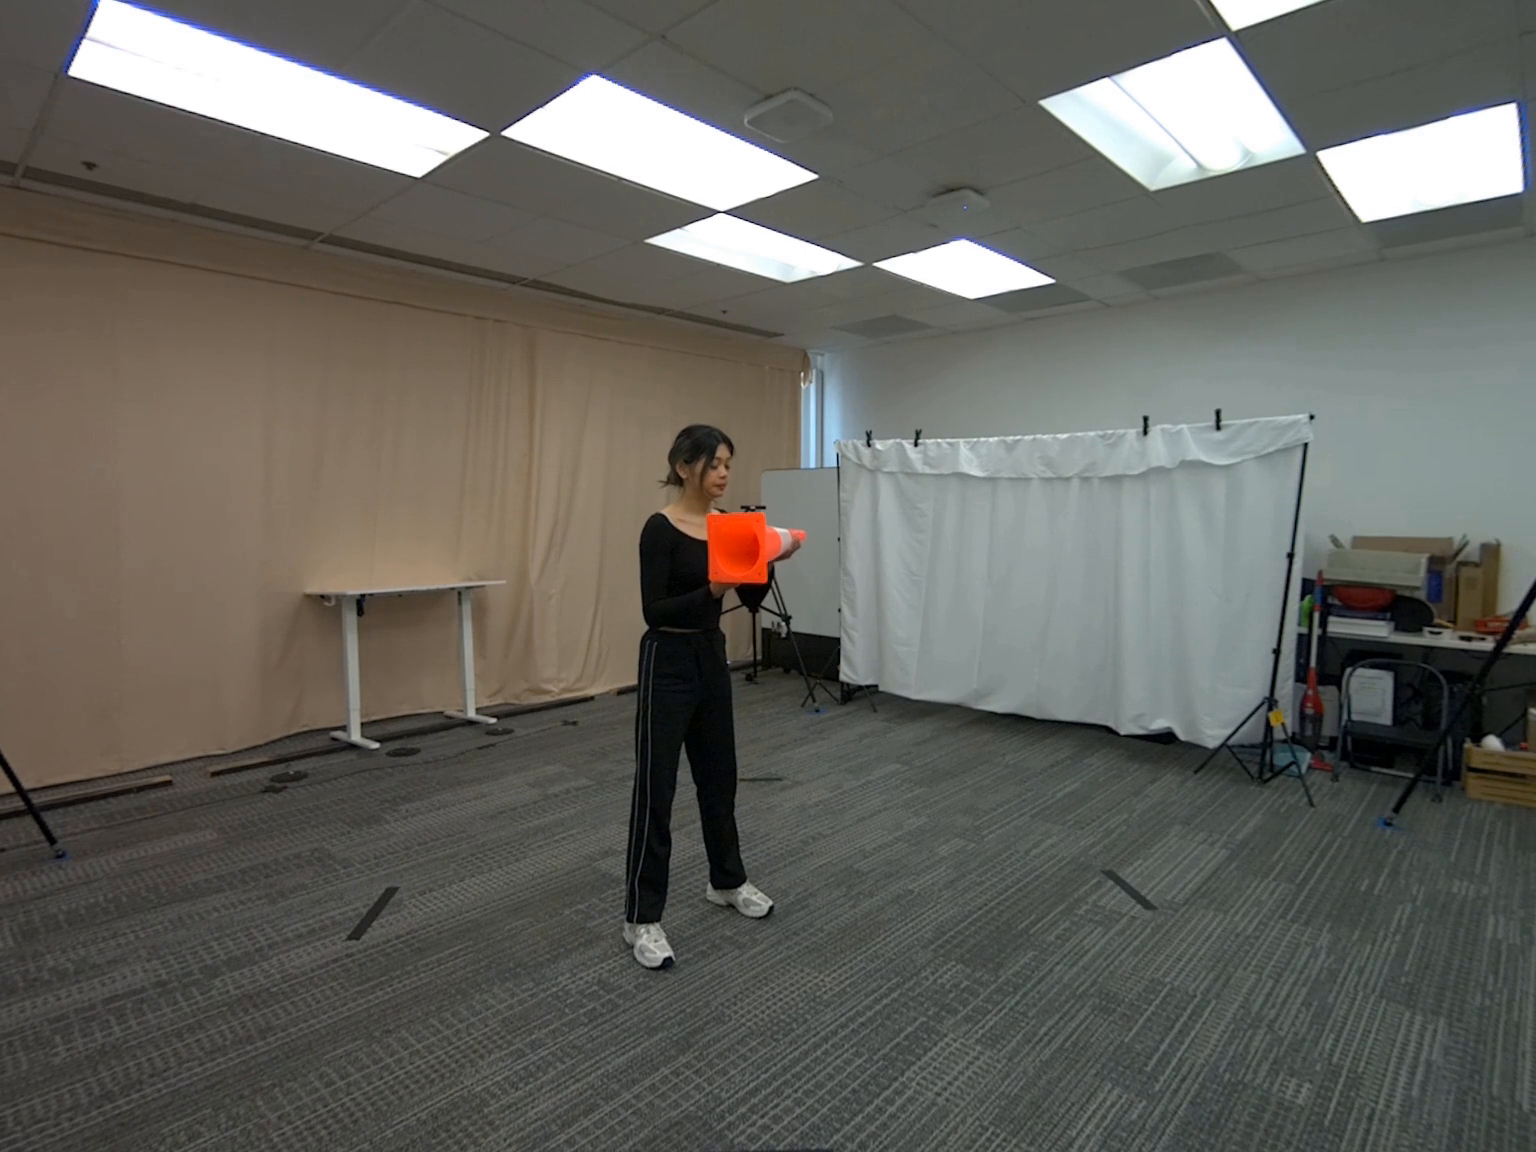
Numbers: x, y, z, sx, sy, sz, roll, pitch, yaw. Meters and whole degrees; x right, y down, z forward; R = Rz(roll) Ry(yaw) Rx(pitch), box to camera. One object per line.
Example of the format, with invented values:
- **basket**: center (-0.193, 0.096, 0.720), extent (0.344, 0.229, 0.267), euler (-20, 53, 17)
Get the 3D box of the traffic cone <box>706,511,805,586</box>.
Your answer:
- **traffic cone**: center (0.012, -0.097, 2.555), extent (0.209, 0.204, 0.374), euler (0, 8, 33)
